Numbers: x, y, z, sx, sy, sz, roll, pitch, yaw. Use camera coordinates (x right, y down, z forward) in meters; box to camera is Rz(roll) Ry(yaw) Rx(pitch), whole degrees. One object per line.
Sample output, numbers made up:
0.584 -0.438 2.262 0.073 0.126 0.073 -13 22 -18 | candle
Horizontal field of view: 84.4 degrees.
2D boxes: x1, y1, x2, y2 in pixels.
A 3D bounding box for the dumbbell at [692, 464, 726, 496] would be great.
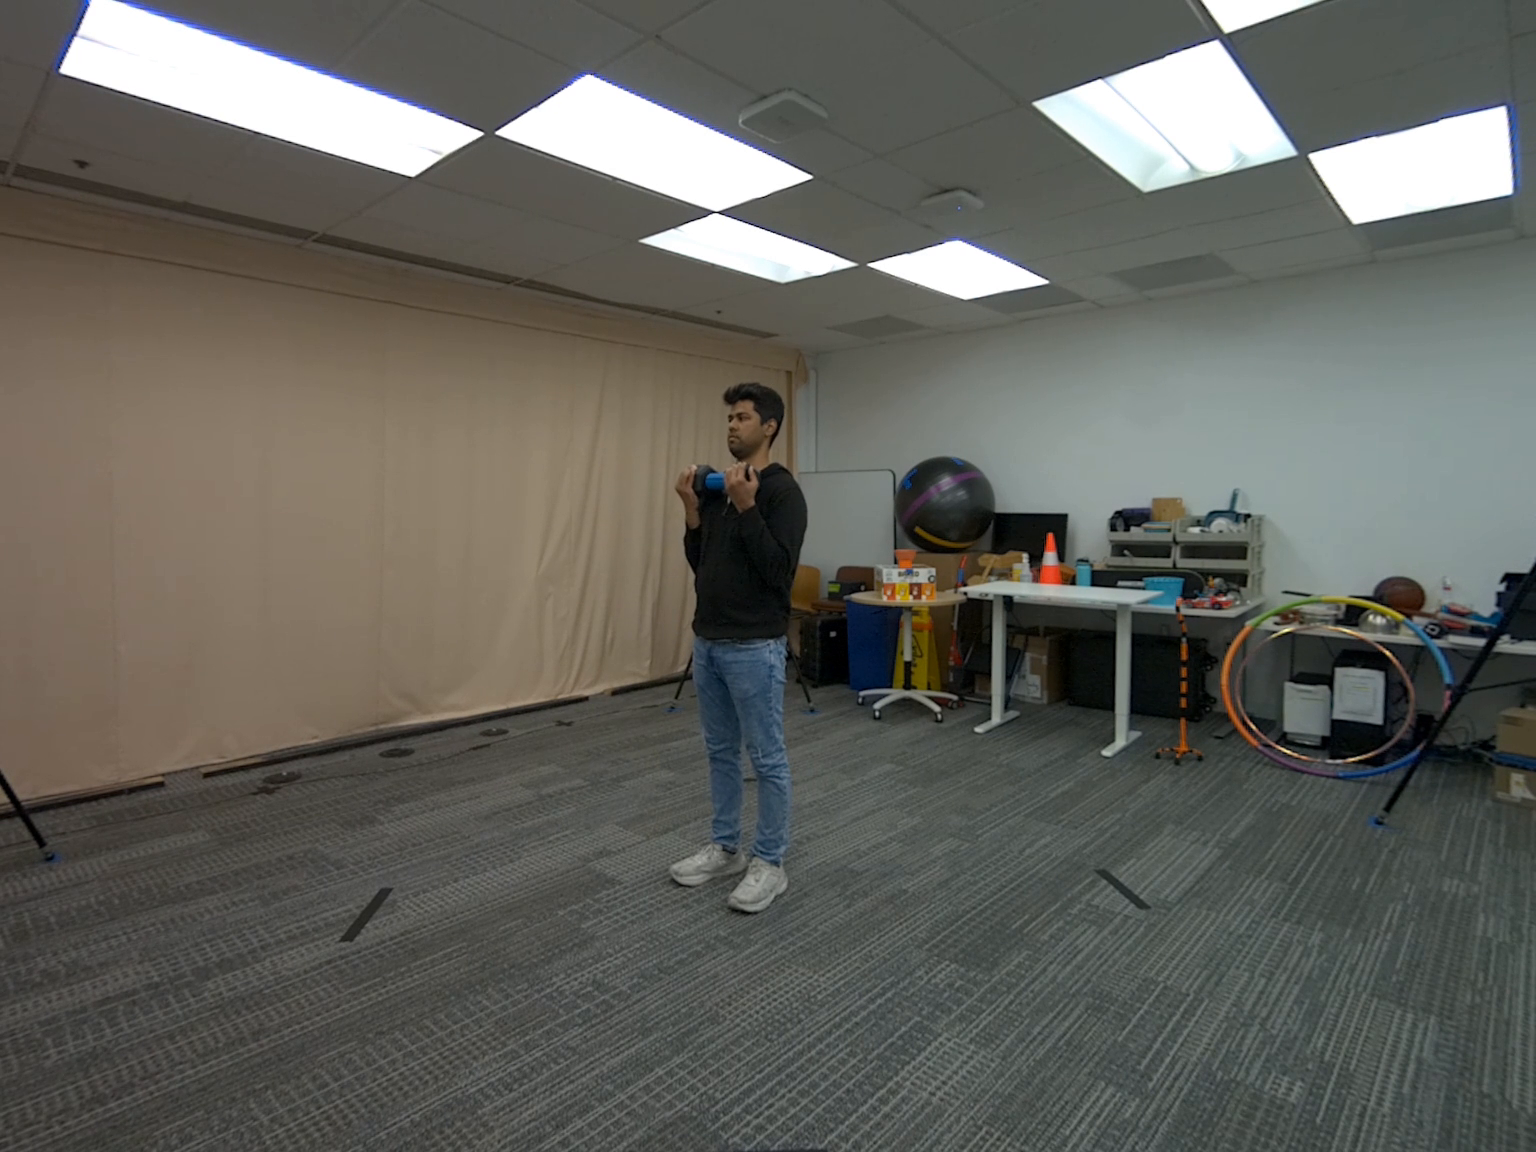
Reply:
-0.158 -0.319 2.959 0.304 0.109 0.118 7 -22 45 | dumbbell
